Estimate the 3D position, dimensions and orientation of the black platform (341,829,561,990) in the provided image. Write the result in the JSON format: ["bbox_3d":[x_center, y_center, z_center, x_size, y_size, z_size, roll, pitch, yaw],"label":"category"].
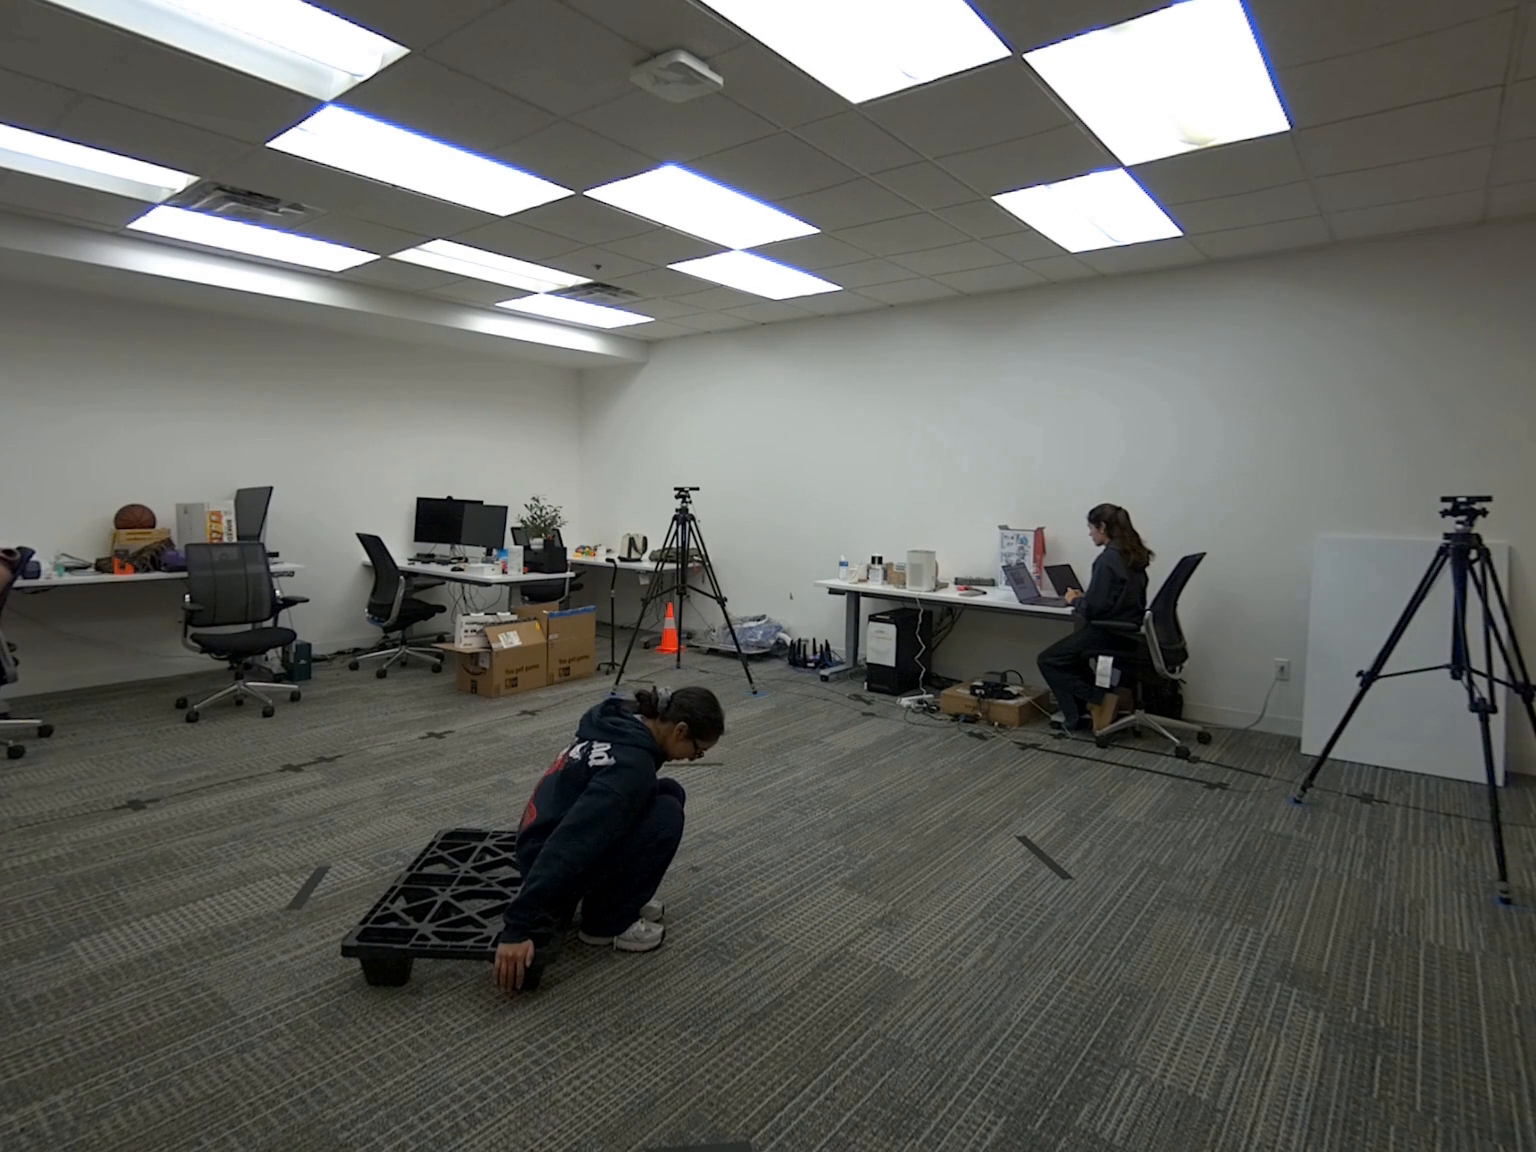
[{"bbox_3d":[-0.905,1.027,2.708,0.605,0.143,0.808,-1,5,-1],"label":"black platform"}]
